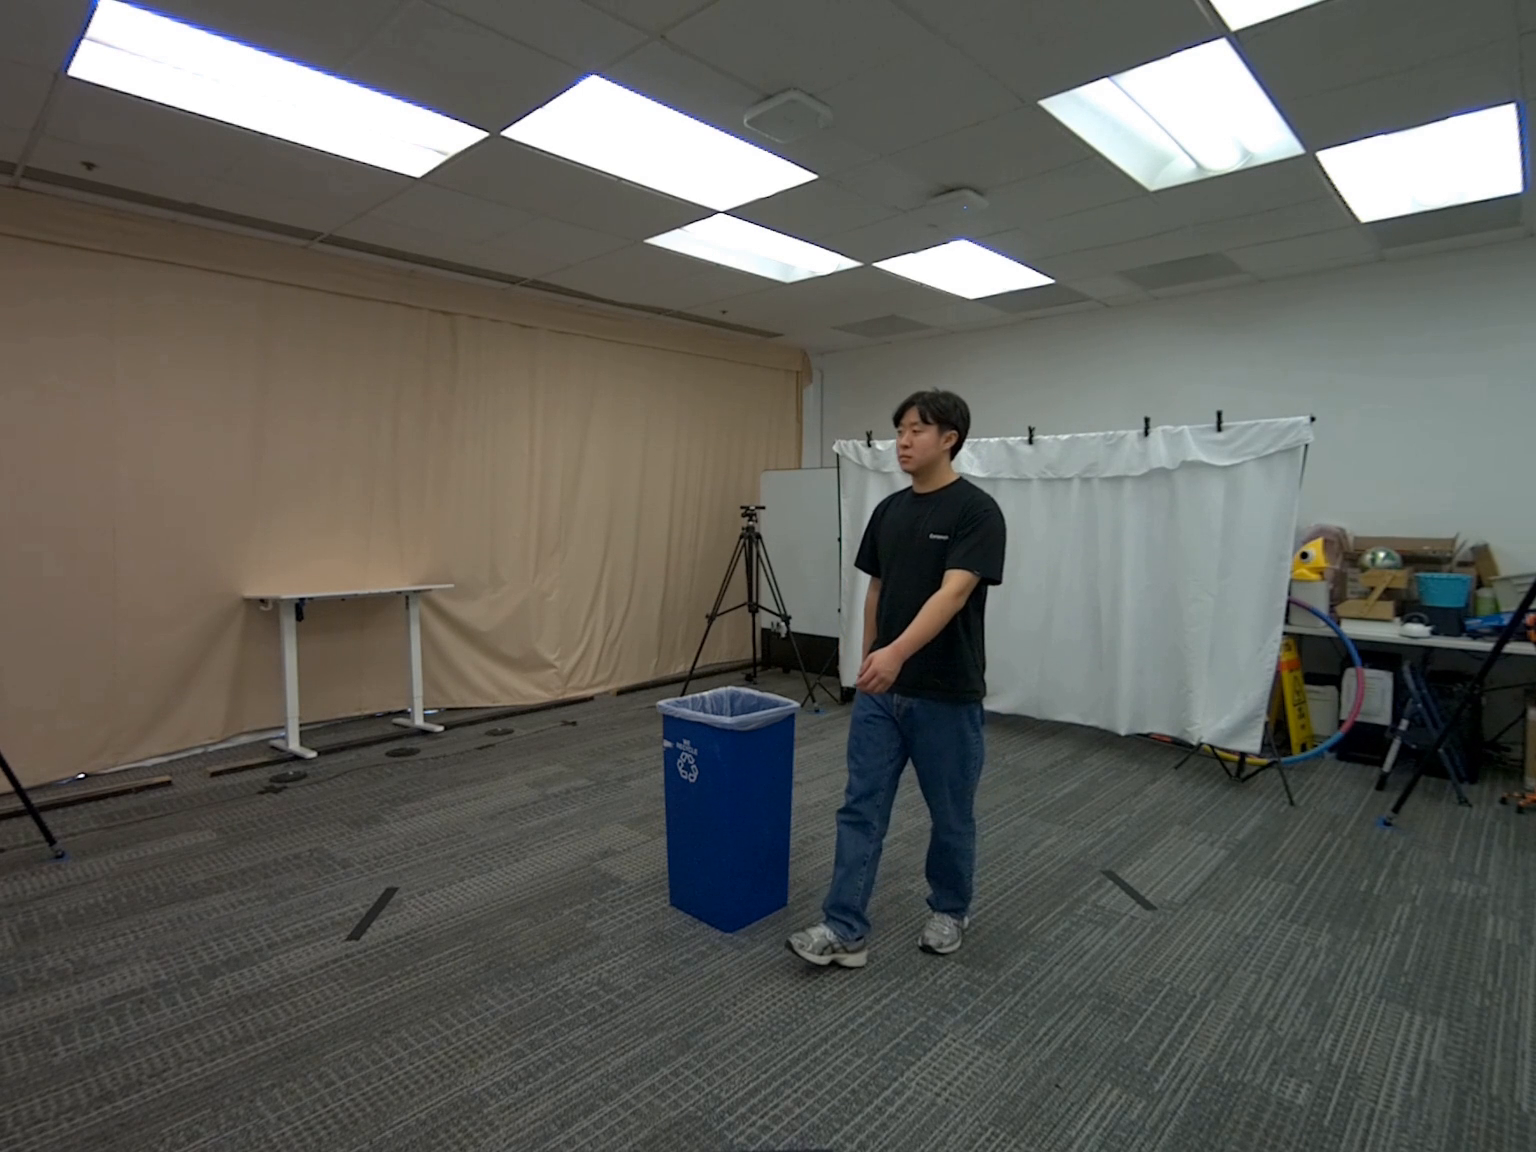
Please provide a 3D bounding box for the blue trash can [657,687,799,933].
[{"bbox_3d":[-0.129,0.792,2.922,0.386,0.712,0.366,2,4,44],"label":"blue trash can"}]
